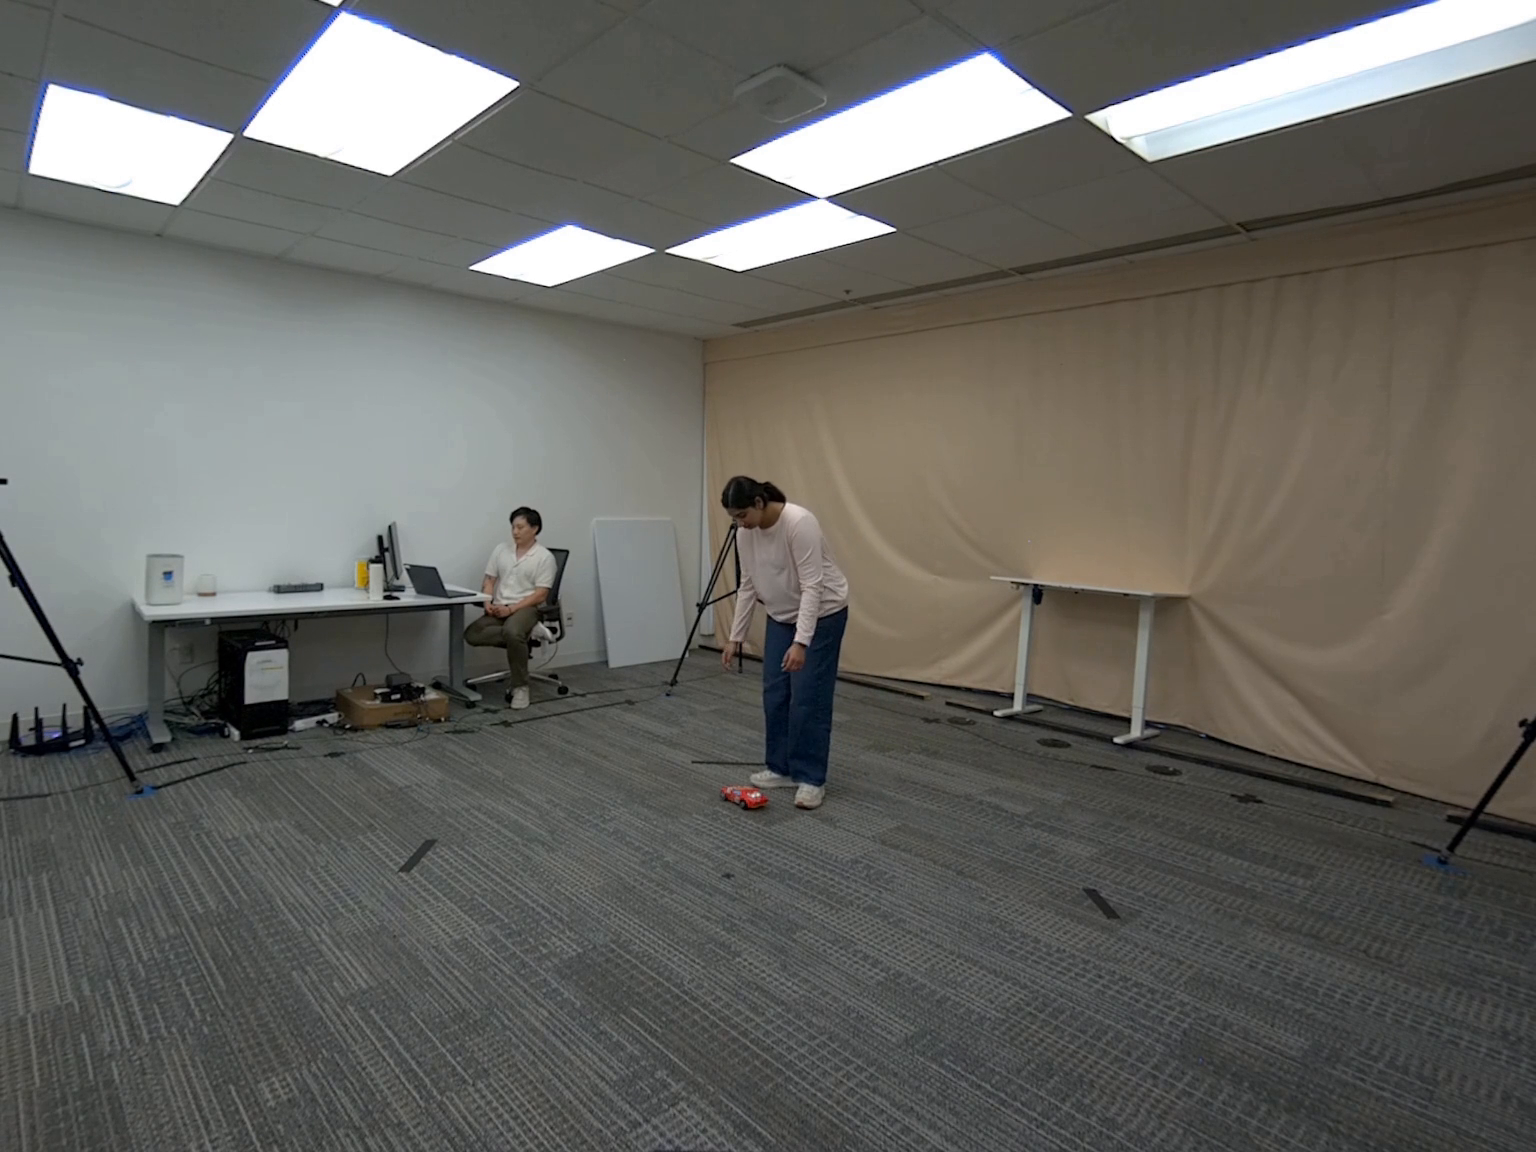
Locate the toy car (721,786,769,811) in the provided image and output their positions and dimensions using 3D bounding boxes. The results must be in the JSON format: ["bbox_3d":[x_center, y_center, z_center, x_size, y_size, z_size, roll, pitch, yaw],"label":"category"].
[{"bbox_3d":[-0.112,1.009,3.846,0.127,0.083,0.259,-1,-6,-40],"label":"toy car"}]
